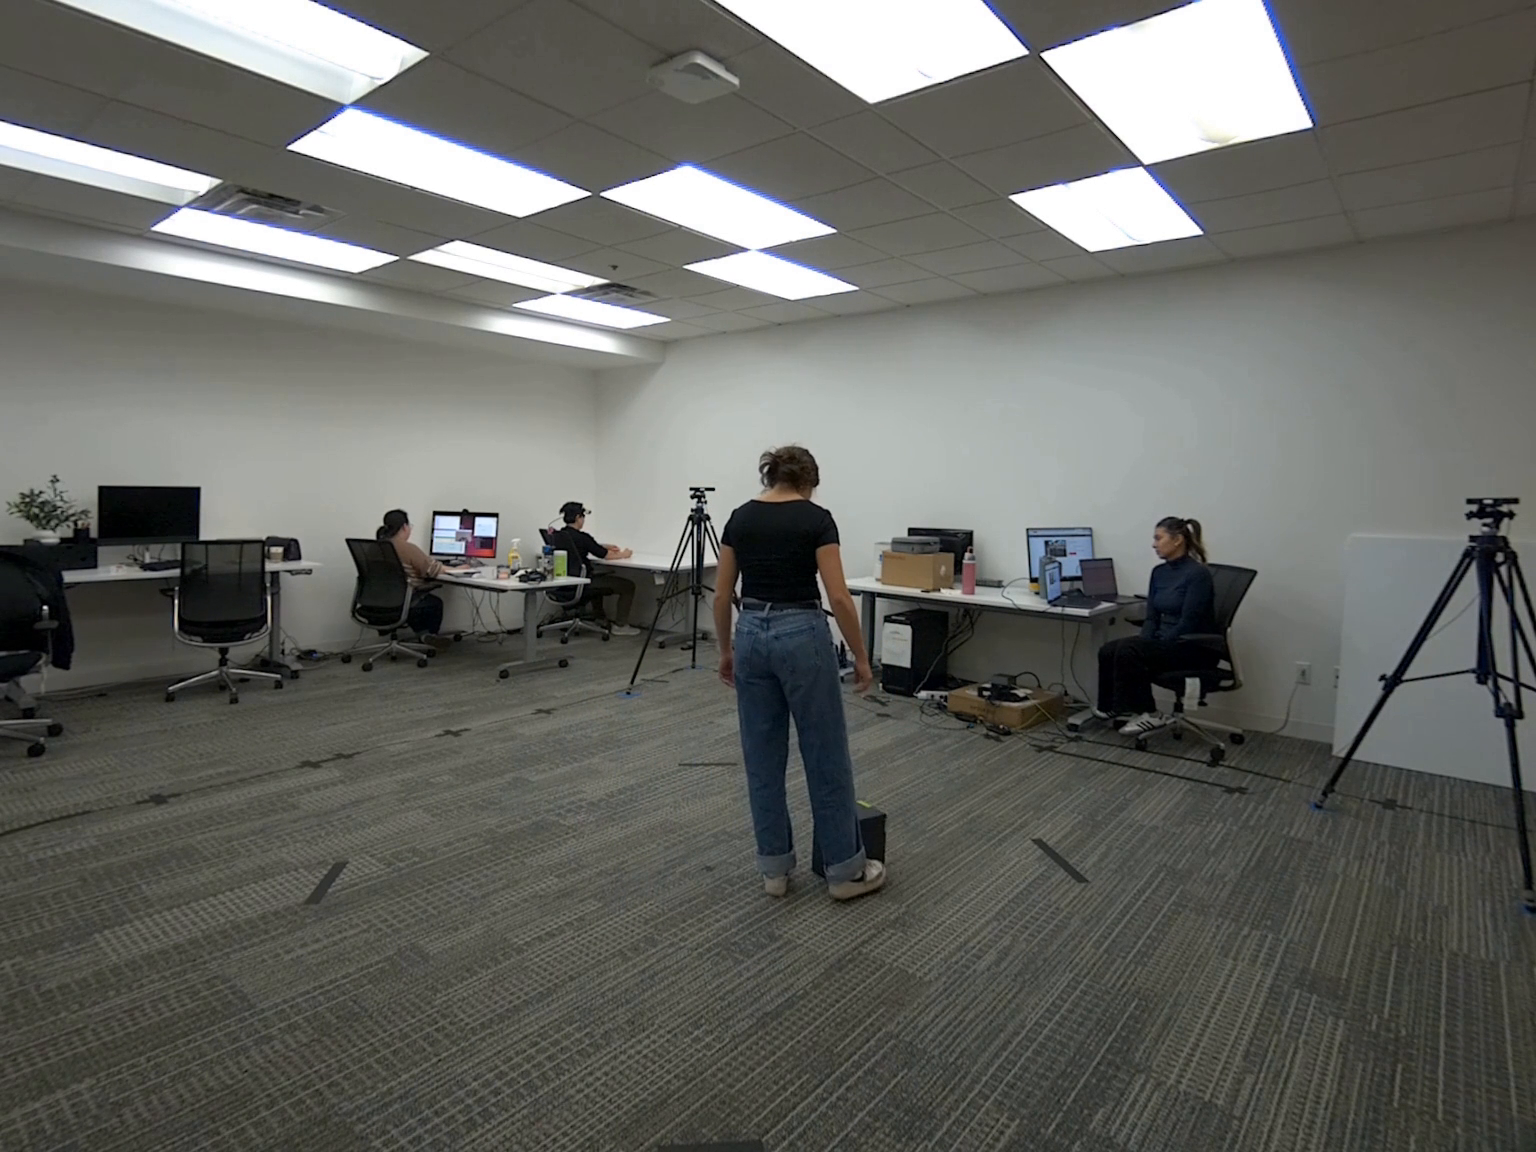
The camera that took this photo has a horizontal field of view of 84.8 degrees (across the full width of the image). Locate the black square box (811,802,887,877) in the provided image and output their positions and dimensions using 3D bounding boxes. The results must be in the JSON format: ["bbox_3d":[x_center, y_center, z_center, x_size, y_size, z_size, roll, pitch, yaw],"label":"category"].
[{"bbox_3d":[0.285,0.958,3.100,0.210,0.227,0.161,-1,5,-35],"label":"black square box"}]
